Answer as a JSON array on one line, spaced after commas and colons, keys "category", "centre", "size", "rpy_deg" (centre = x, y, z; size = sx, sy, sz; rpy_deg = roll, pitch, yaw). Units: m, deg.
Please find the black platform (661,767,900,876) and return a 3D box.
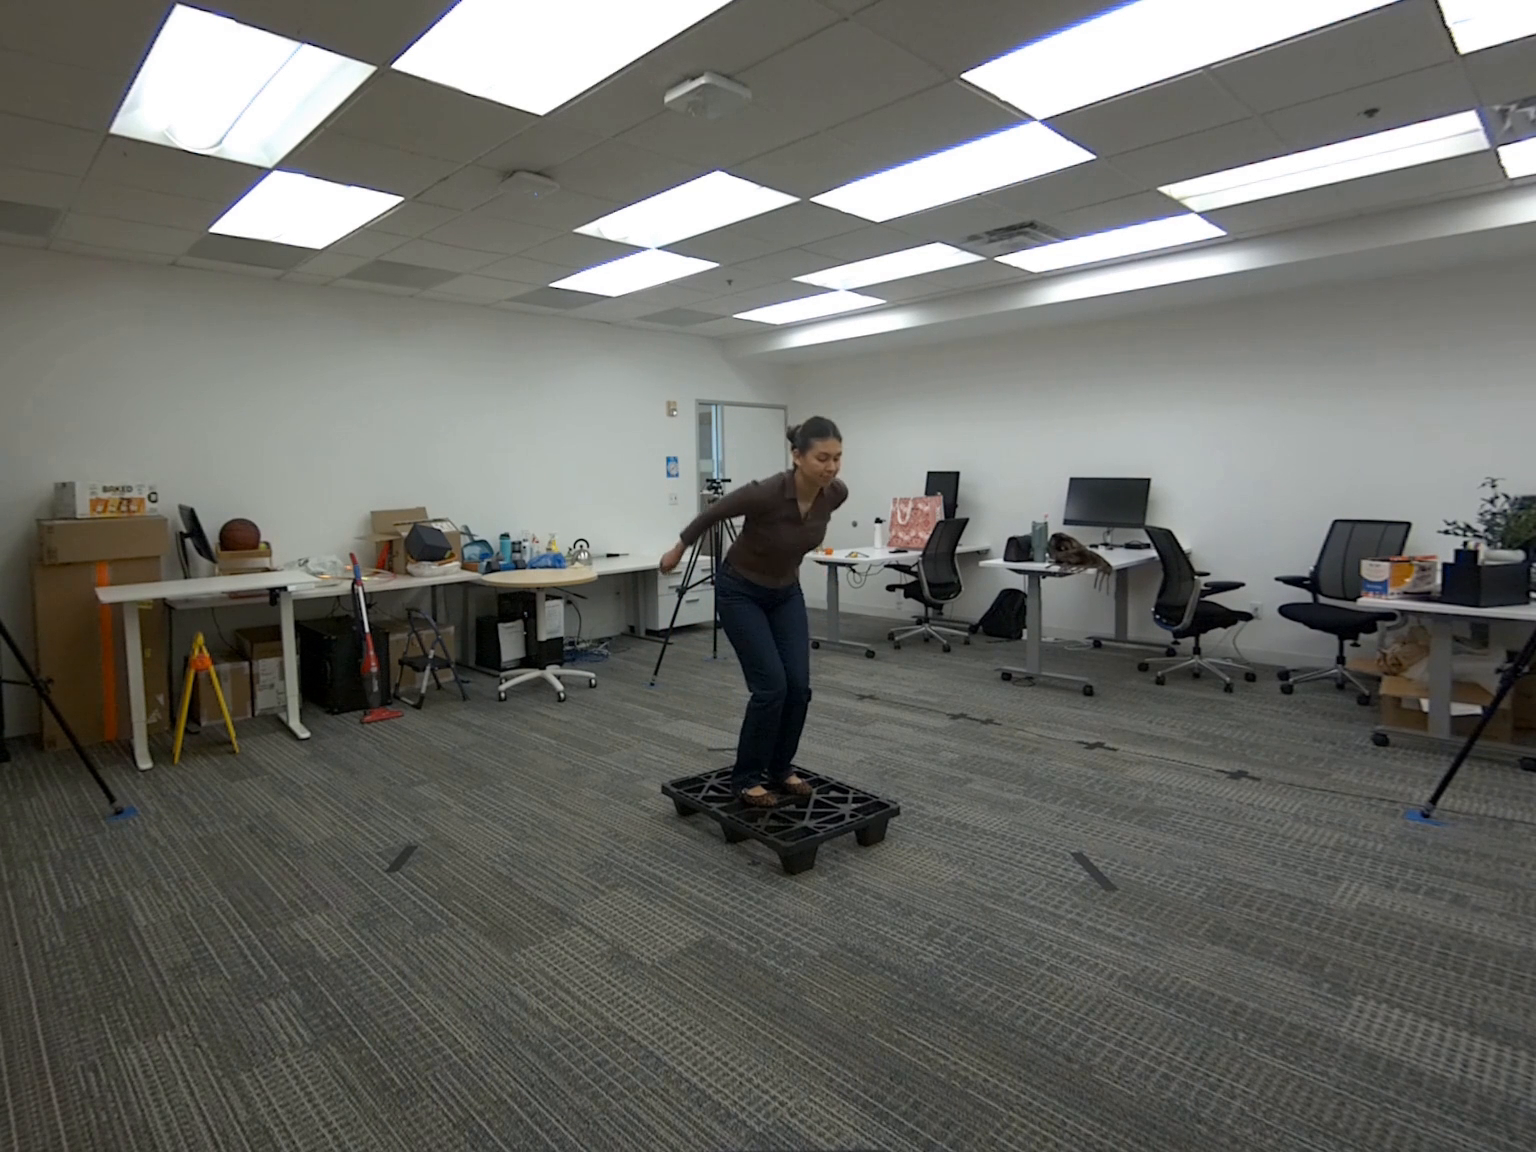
[{"category": "black platform", "centre": [0.033, 0.940, 3.424], "size": [0.590, 0.142, 0.830], "rpy_deg": [-6, 8, -38]}]
